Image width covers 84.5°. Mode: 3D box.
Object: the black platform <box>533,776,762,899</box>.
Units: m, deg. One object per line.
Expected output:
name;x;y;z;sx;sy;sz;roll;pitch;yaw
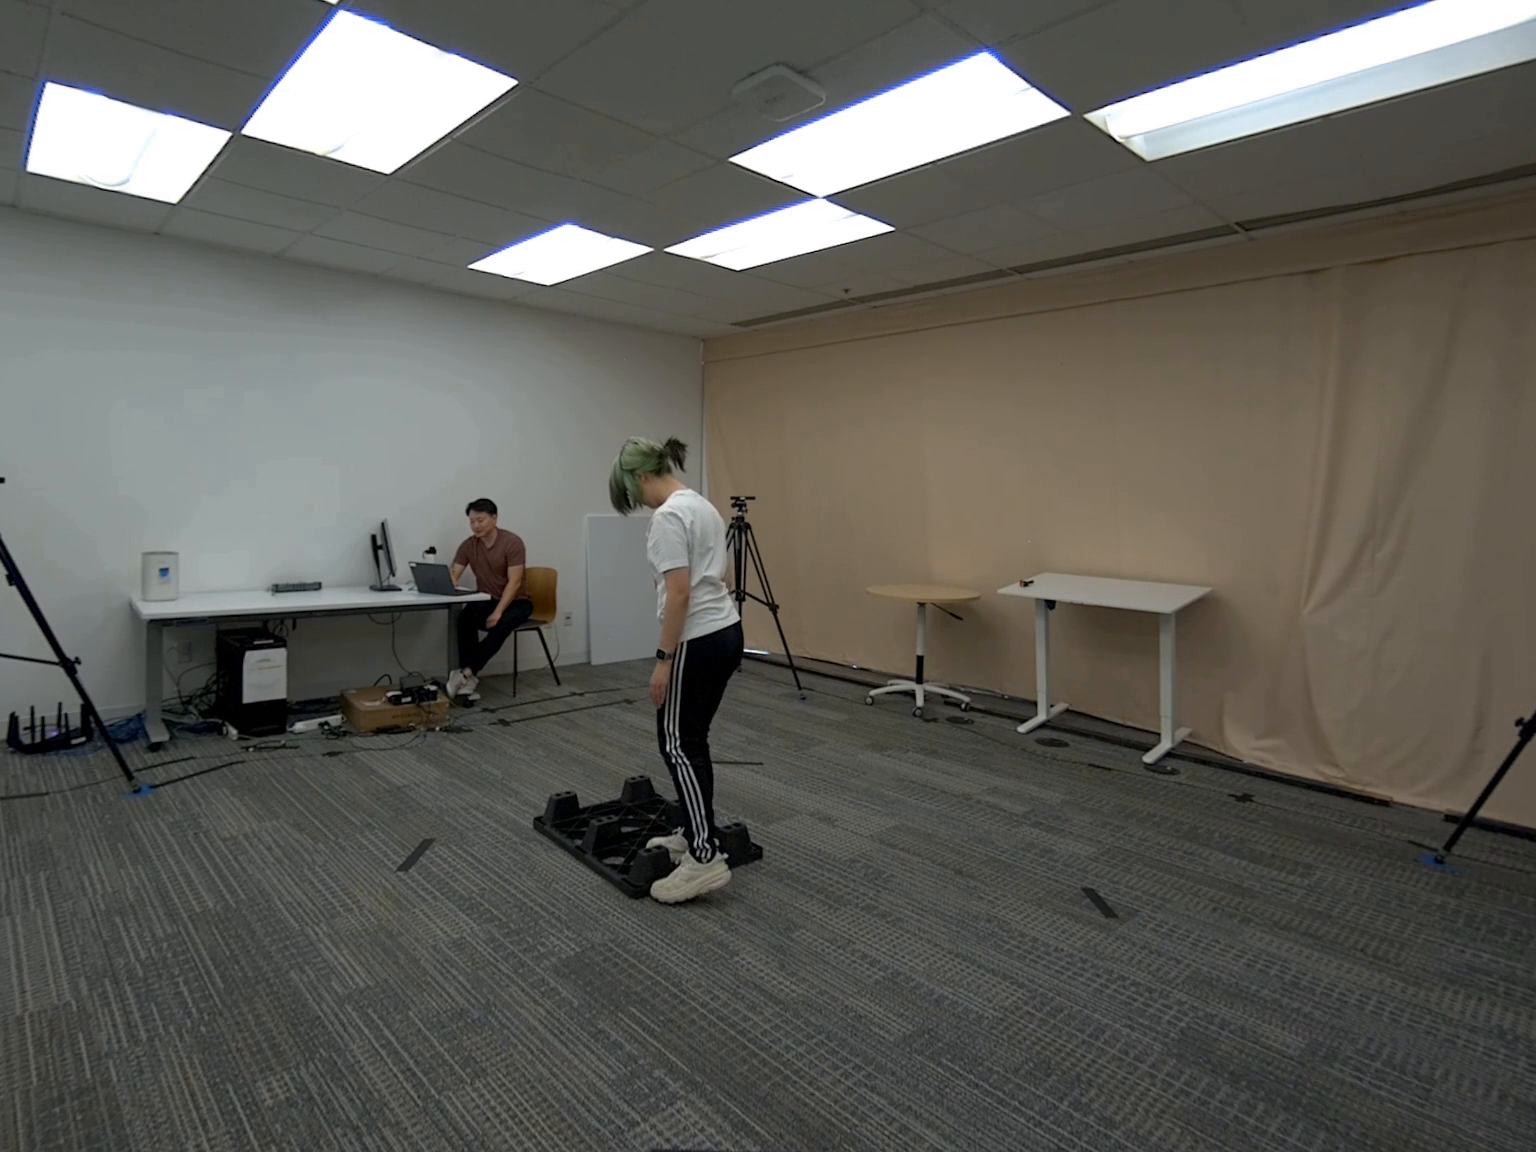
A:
black platform;-0.499;1.008;3.384;0.592;0.143;0.826;-4;8;-40
